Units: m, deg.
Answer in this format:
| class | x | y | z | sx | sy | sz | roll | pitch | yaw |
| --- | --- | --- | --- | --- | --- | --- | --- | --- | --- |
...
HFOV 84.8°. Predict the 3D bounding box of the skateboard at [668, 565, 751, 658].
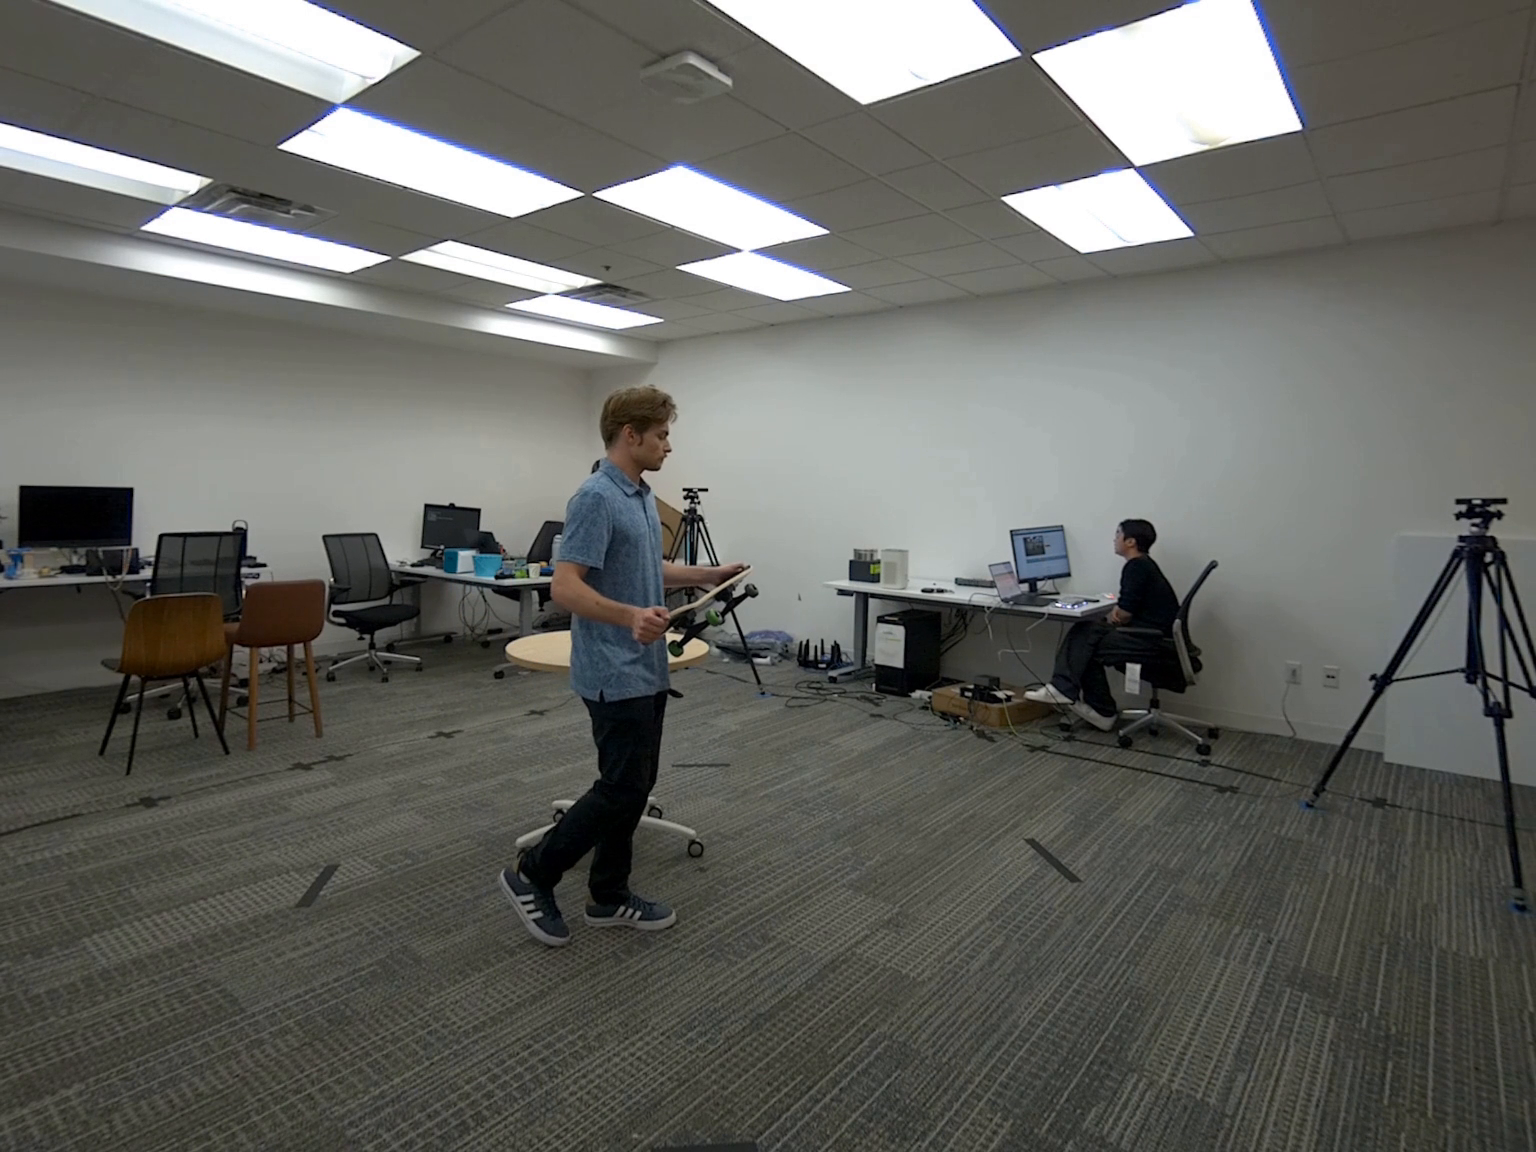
| class | x | y | z | sx | sy | sz | roll | pitch | yaw |
| --- | --- | --- | --- | --- | --- | --- | --- | --- | --- |
| skateboard | -0.190 | 0.119 | 2.626 | 0.194 | 0.111 | 0.780 | -37 | 0 | 17 |
